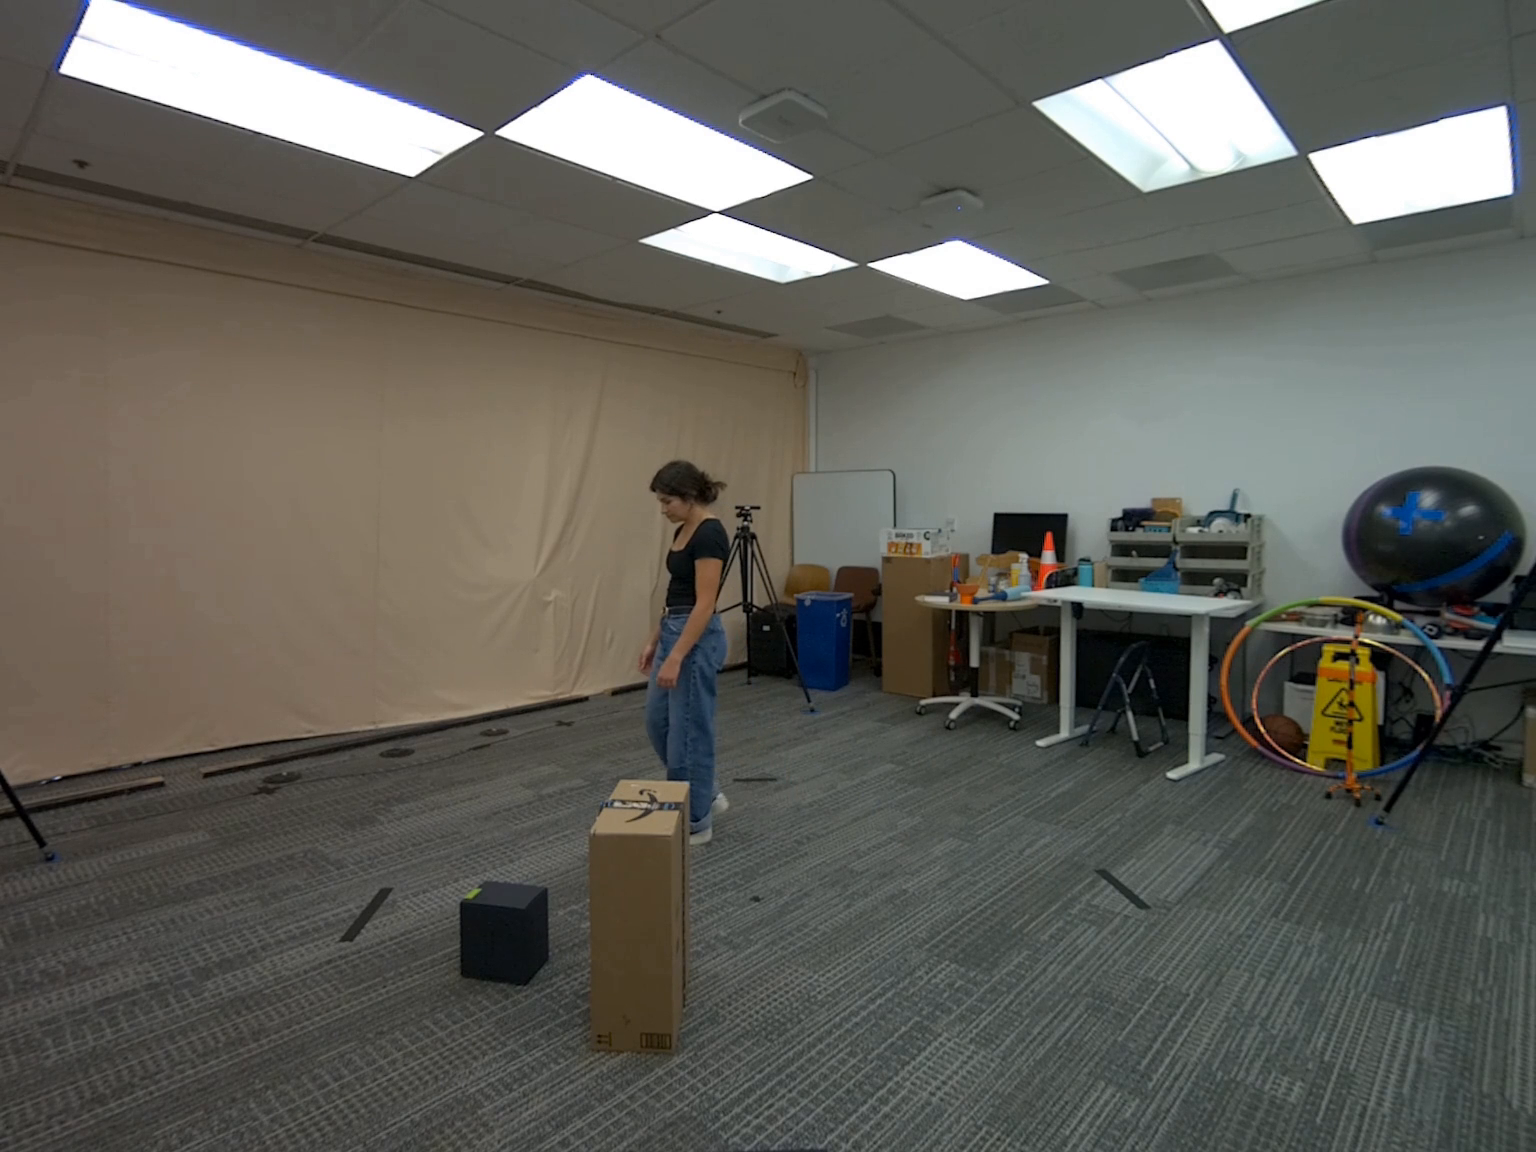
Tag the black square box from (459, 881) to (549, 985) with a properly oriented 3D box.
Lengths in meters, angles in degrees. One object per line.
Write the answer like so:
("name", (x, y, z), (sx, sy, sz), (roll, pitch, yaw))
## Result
("black square box", (-0.797, 1.067, 2.539), (0.220, 0.228, 0.154), (0, 1, 12))
